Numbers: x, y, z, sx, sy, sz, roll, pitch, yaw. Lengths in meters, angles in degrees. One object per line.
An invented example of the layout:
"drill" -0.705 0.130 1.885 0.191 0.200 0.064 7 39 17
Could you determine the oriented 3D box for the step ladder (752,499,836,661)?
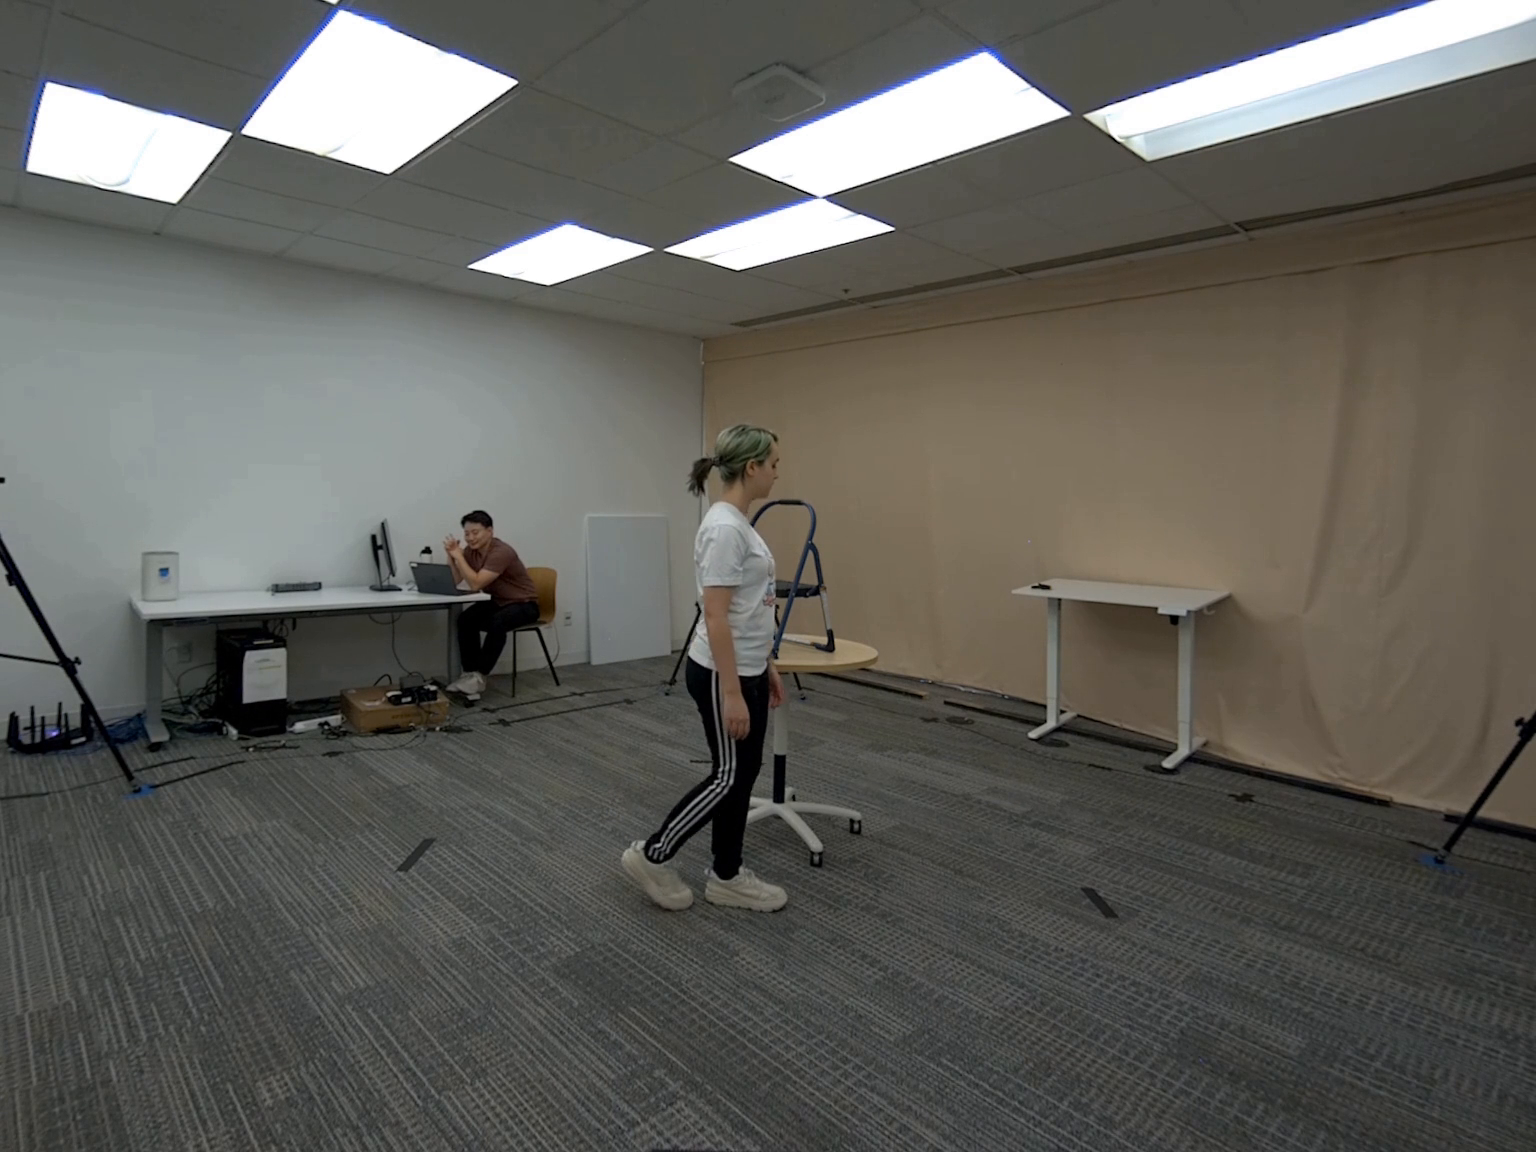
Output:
"step ladder" 0.016 -0.006 3.428 0.341 0.604 0.441 -1 4 -39
